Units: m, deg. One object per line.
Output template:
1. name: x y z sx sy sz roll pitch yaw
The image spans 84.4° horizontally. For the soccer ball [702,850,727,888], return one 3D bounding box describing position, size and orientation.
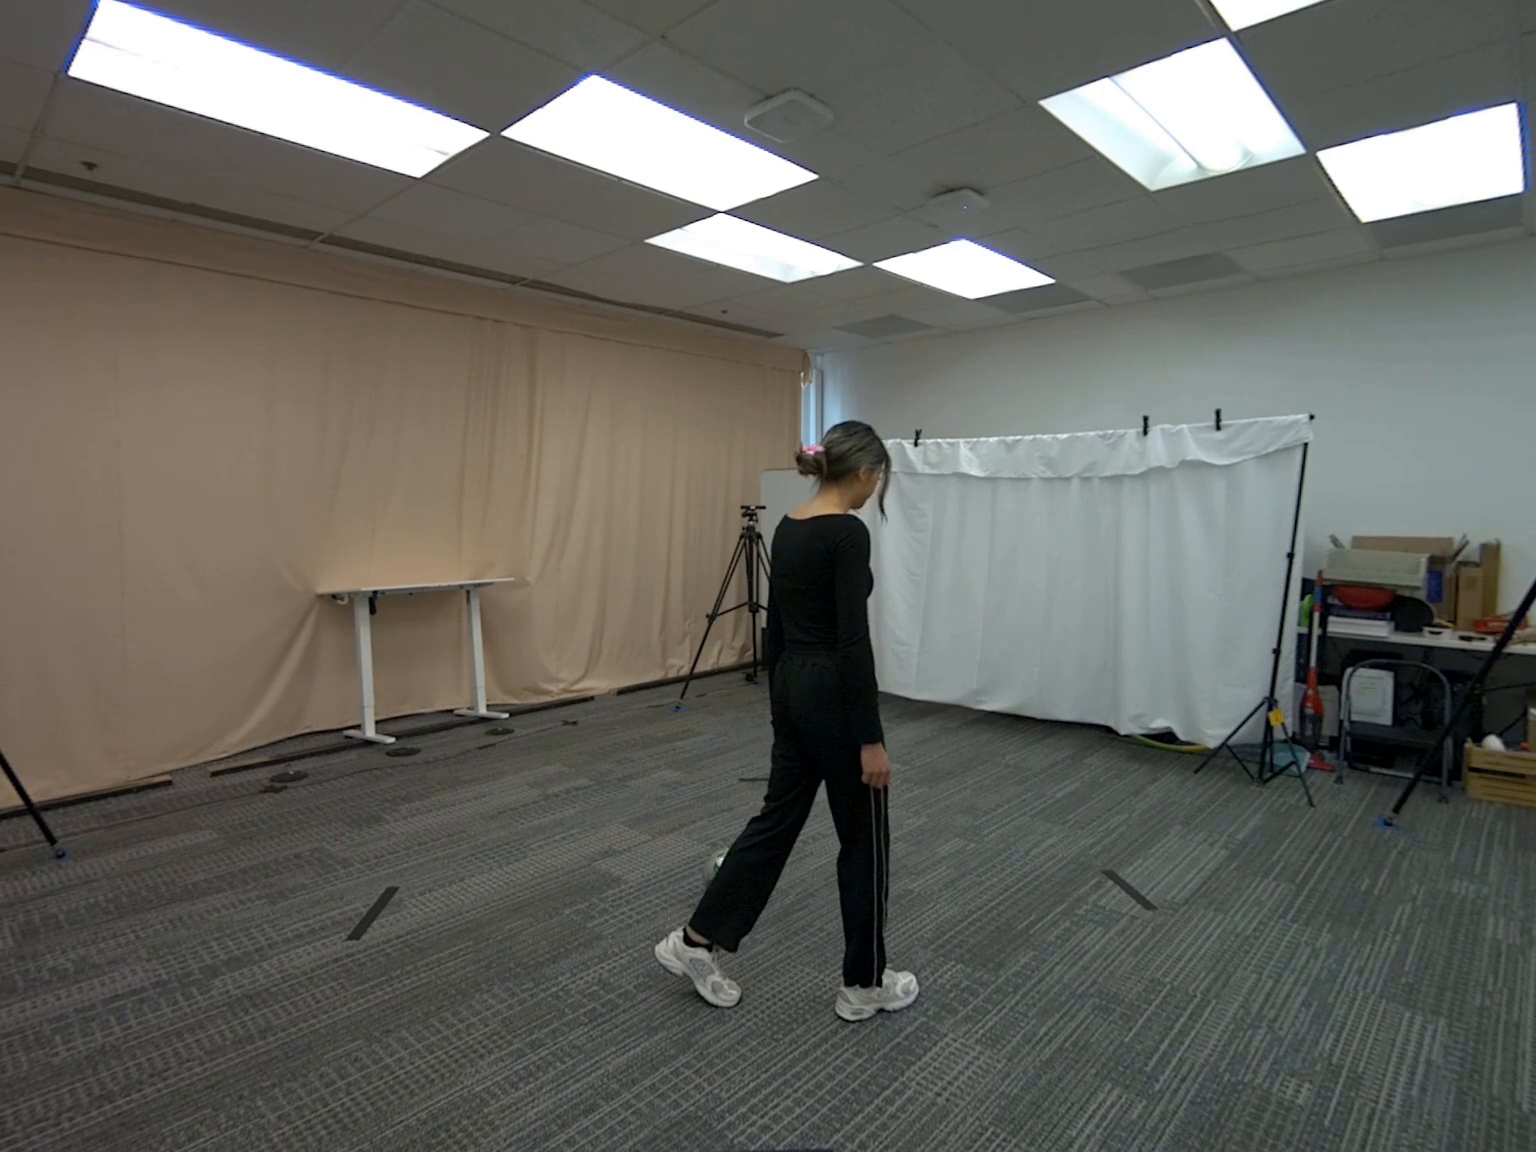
1. soccer ball: -0.136 1.054 2.957 0.187 0.187 0.188 0 4 -2
